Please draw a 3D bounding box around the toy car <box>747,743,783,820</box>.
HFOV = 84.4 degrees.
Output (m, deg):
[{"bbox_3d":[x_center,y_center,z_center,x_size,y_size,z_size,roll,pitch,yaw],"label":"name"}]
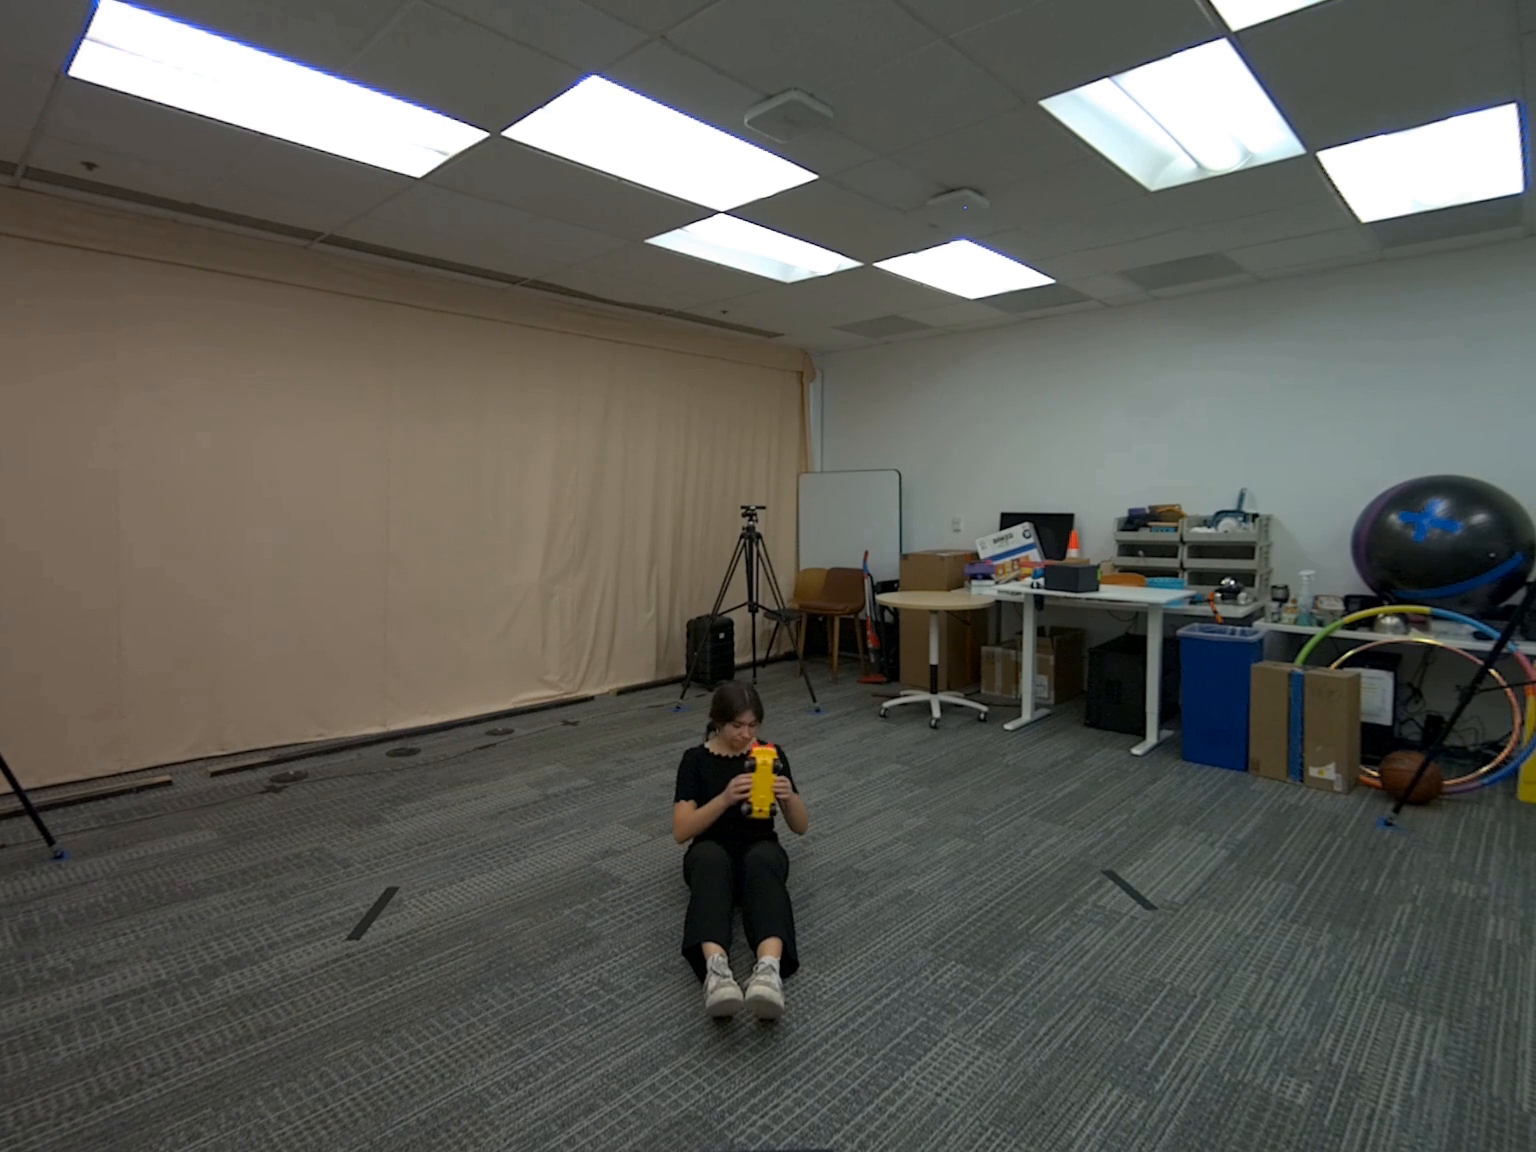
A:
[{"bbox_3d":[-0.026,0.715,2.909,0.129,0.257,0.083,8,-19,-11],"label":"toy car"}]
